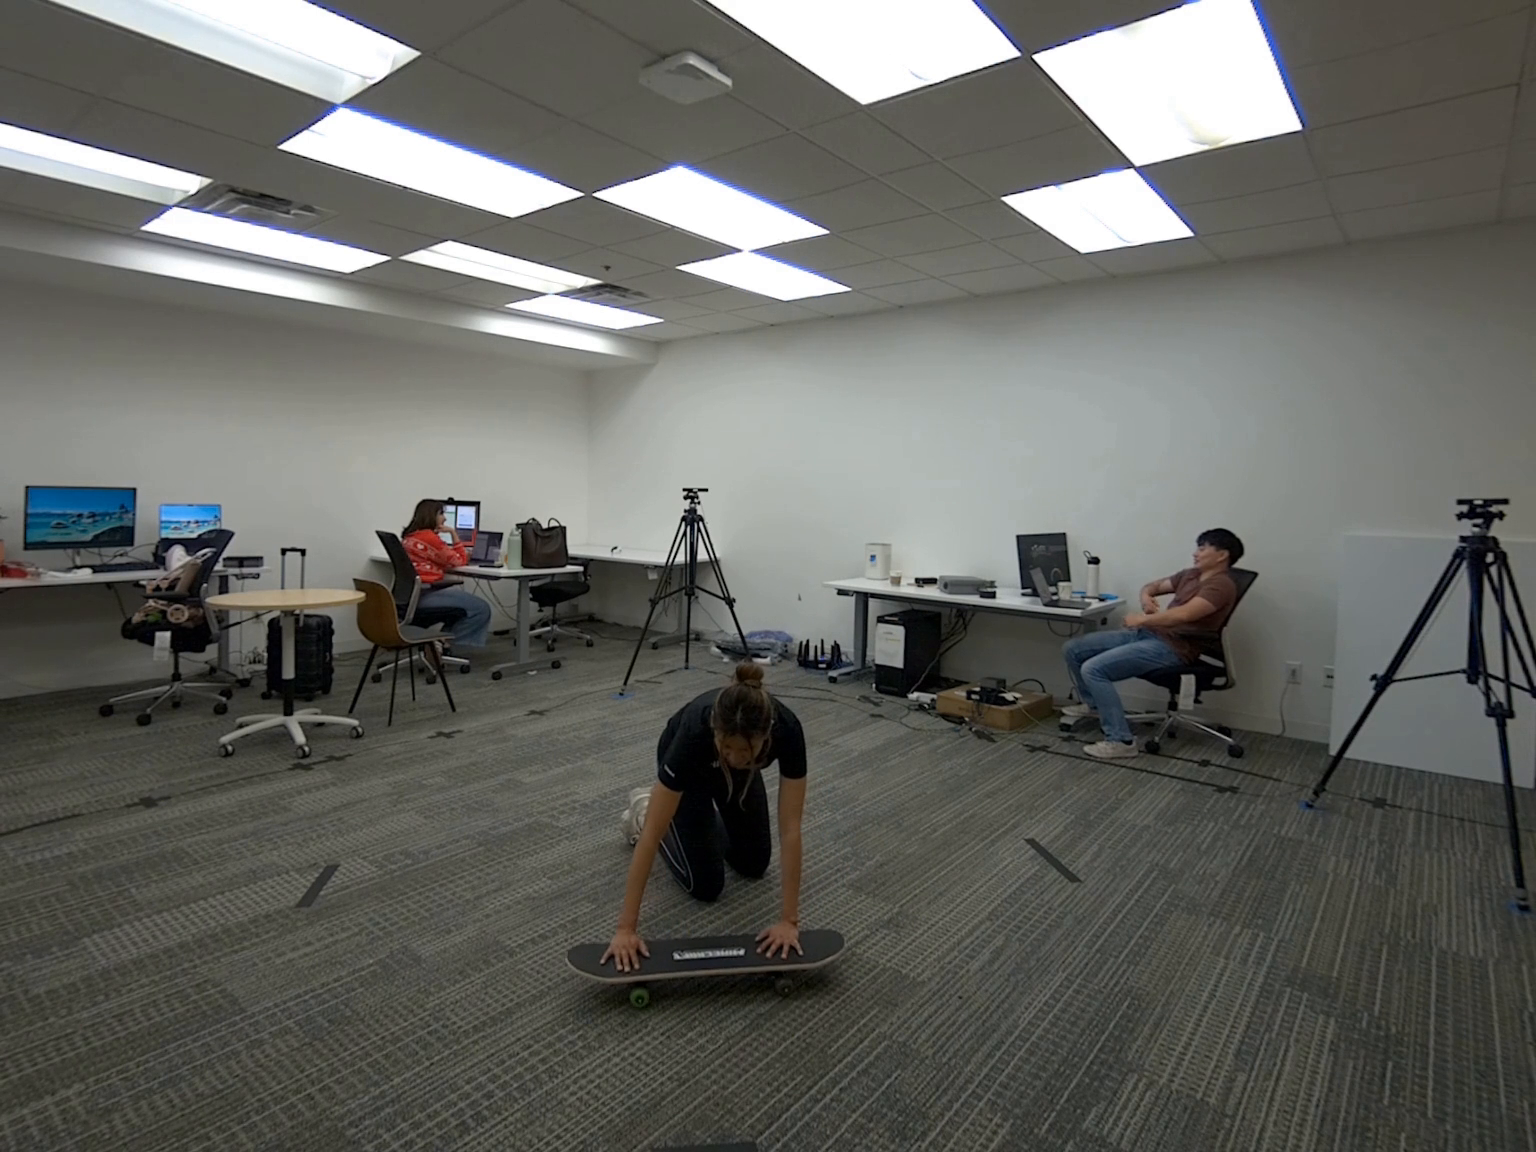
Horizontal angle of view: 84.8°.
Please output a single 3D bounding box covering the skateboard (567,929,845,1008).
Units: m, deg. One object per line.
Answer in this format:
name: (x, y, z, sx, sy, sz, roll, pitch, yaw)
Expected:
skateboard: (-0.177, 1.075, 2.390, 0.777, 0.110, 0.196, 1, 3, -10)
